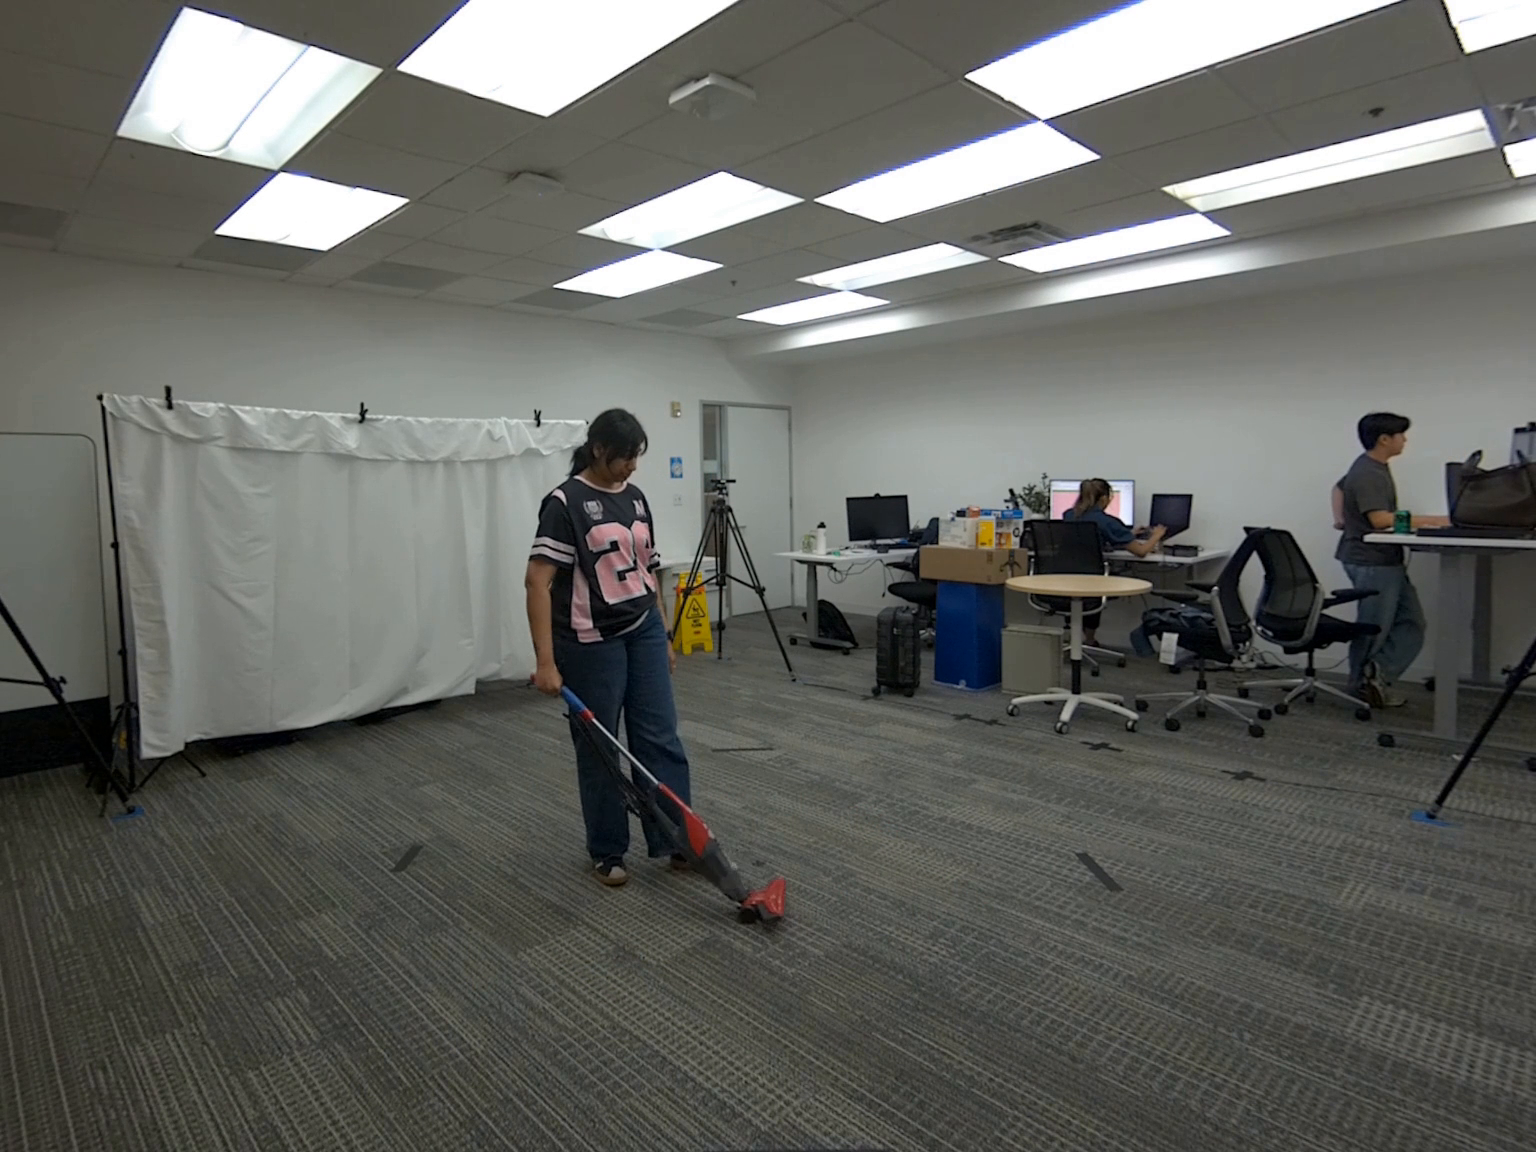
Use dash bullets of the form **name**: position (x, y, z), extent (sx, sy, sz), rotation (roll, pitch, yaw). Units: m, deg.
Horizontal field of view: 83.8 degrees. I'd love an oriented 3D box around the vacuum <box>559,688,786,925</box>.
- **vacuum**: position (-0.375, 0.713, 2.763), extent (1.052, 0.144, 0.252), rotation (42, 8, 2)
